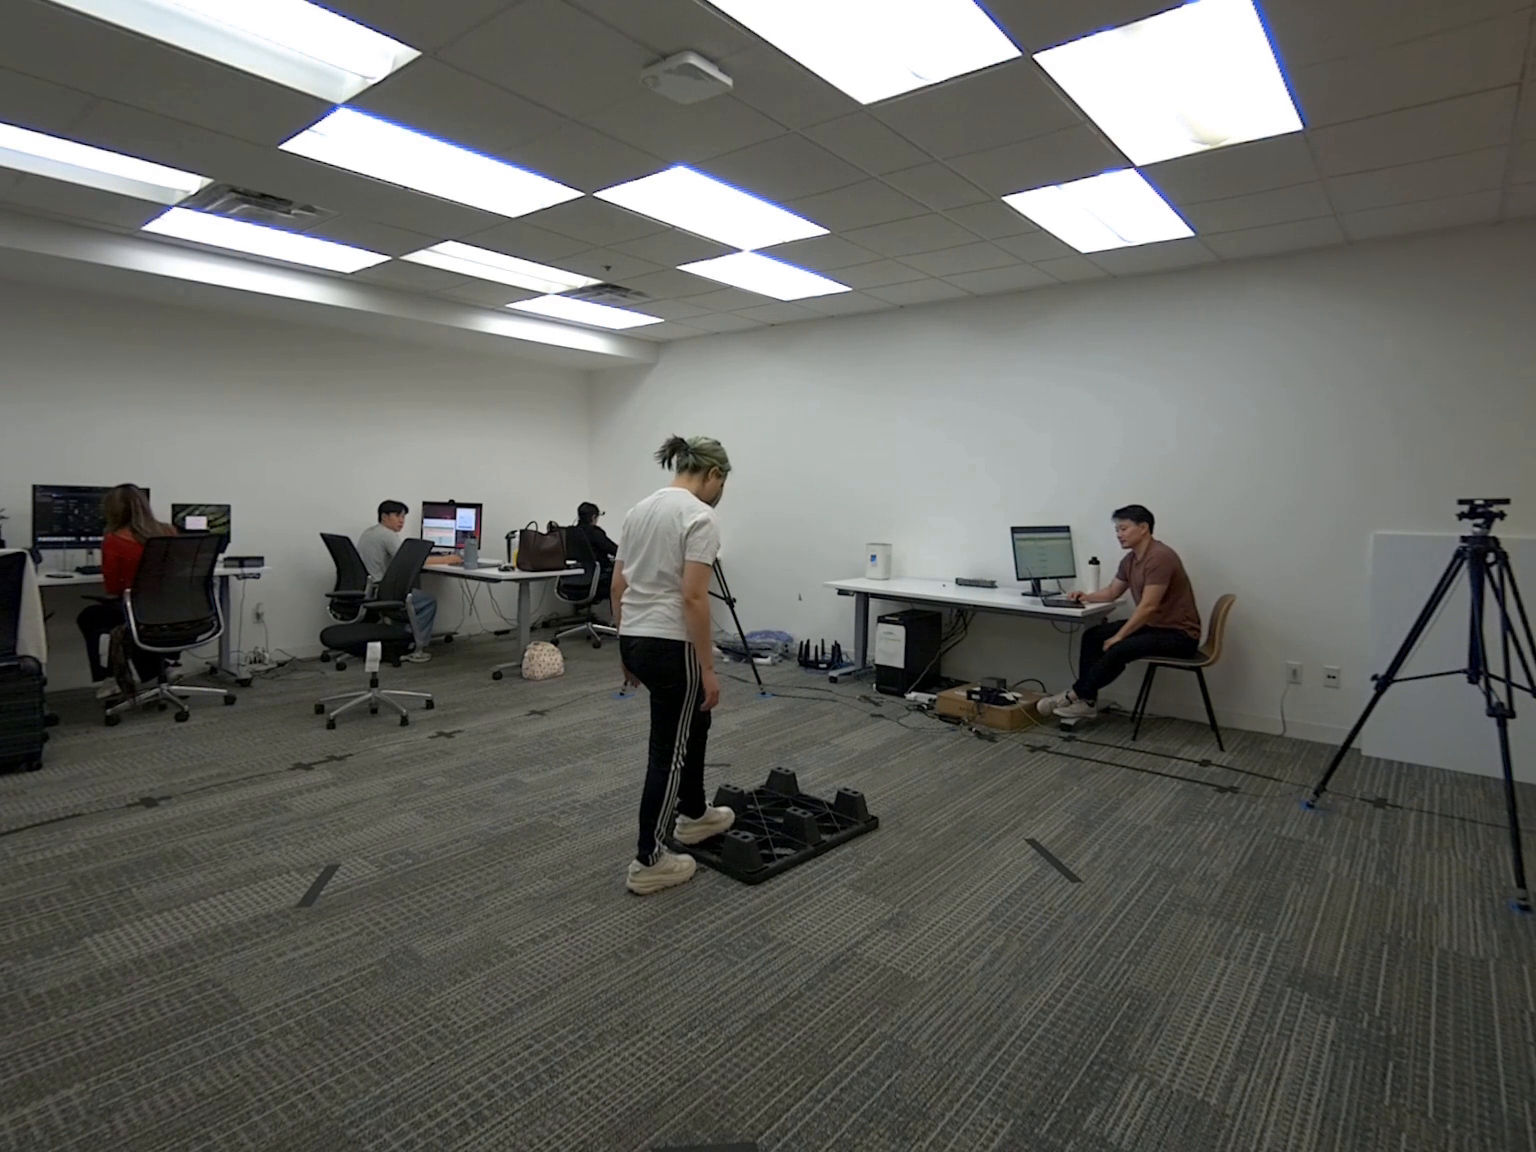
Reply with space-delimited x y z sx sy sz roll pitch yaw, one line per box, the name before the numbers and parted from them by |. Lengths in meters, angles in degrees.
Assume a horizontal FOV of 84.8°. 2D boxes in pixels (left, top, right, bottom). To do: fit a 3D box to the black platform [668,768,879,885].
black platform | -0.024 0.974 3.456 0.626 0.143 0.782 5 7 42
